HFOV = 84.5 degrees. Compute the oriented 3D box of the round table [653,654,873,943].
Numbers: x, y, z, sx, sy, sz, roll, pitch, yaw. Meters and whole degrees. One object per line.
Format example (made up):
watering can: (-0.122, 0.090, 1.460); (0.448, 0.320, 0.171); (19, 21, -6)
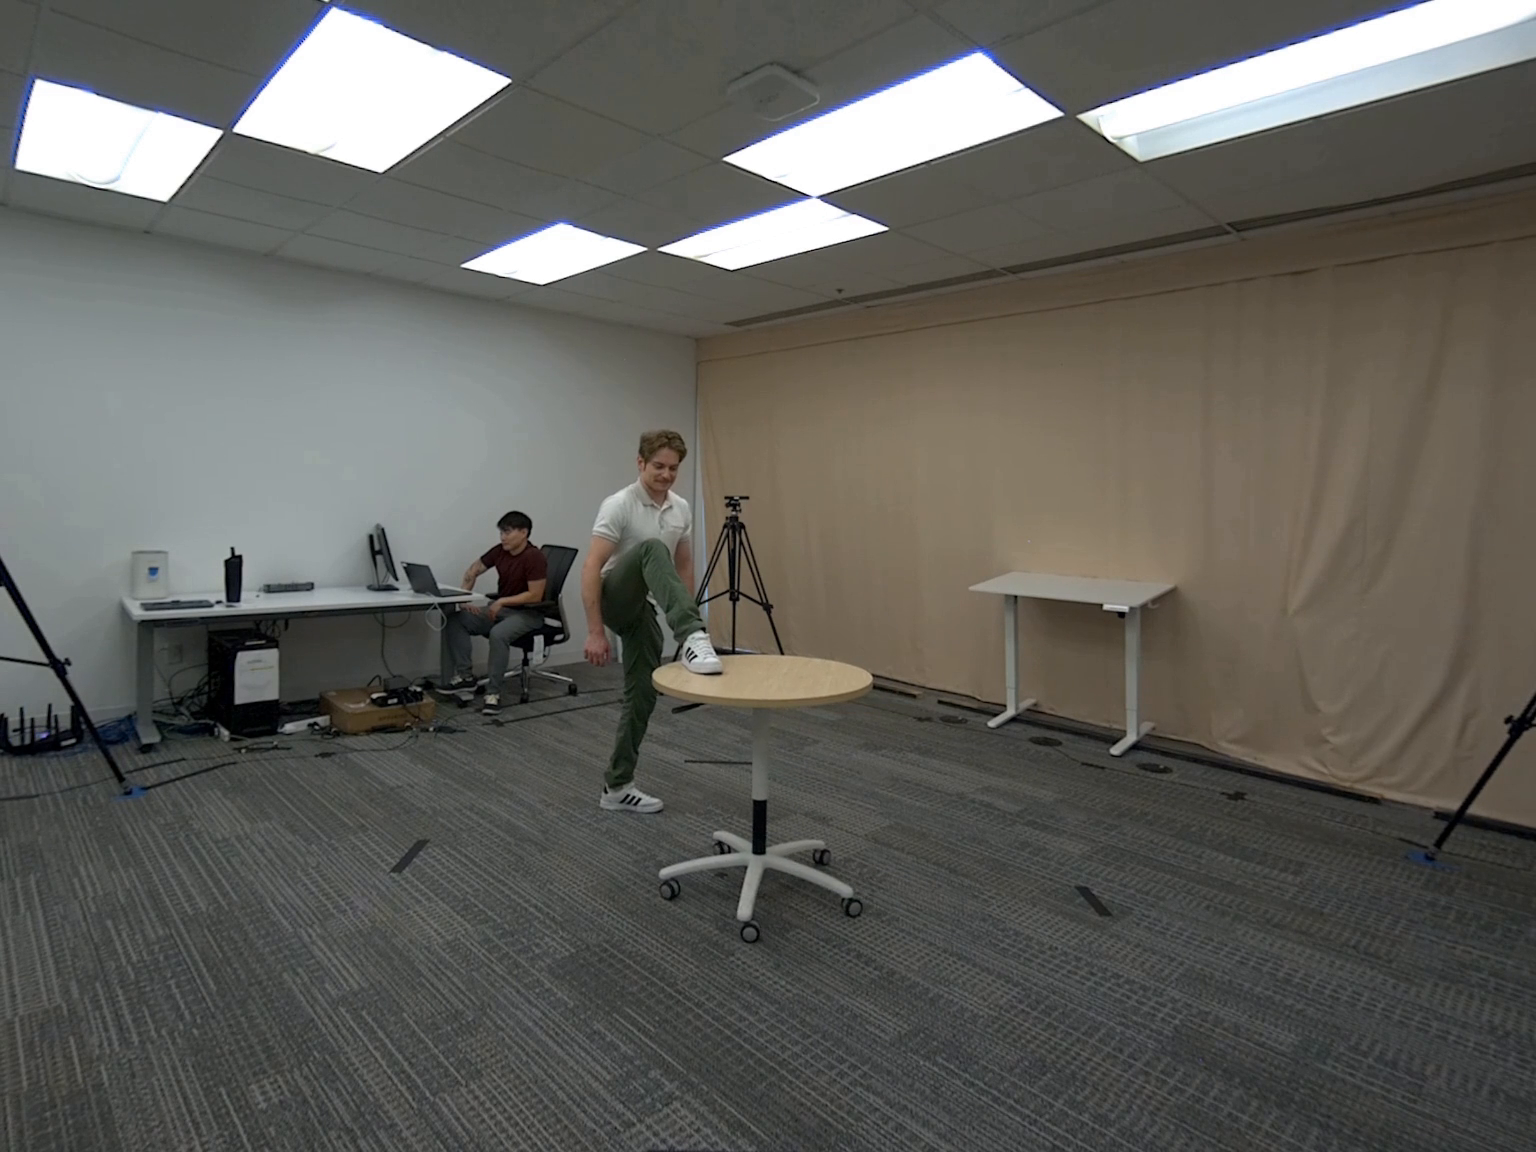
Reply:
round table: (-0.023, 0.734, 2.950); (0.763, 0.792, 0.766); (1, 4, -1)
